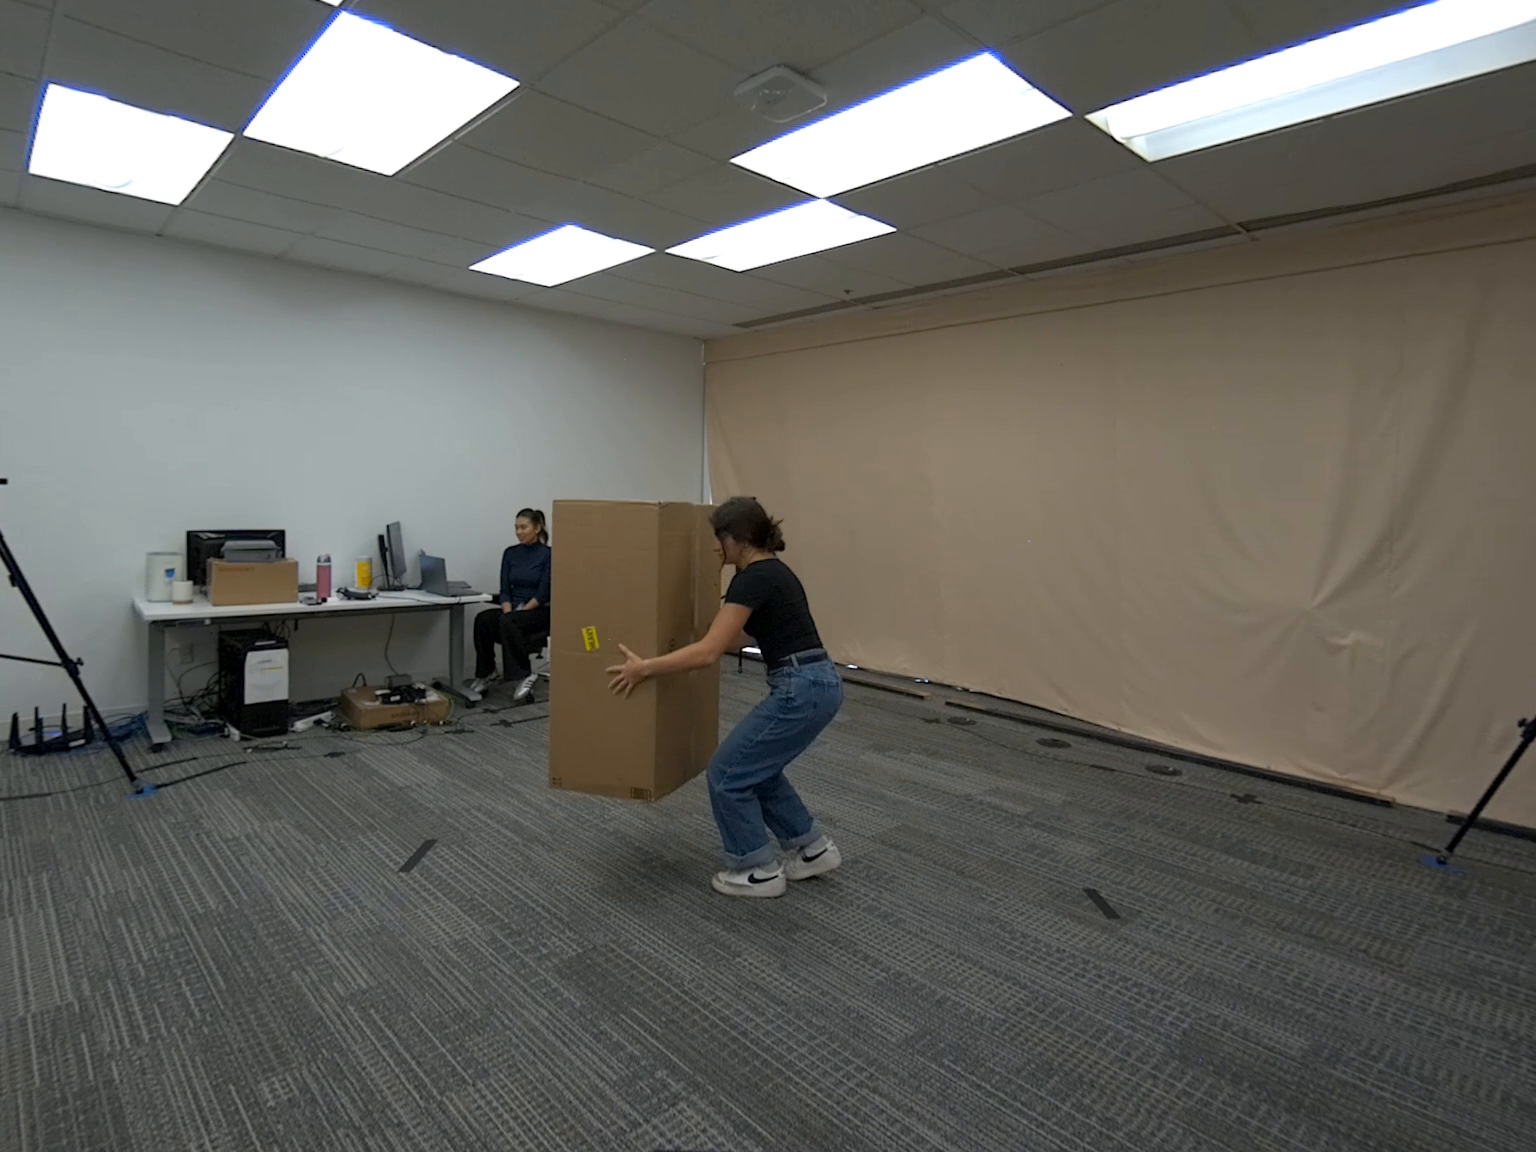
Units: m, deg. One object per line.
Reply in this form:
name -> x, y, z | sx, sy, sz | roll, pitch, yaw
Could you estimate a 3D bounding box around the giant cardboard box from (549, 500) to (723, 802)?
giant cardboard box -> -0.486, 0.239, 3.153 | 0.433, 1.024, 0.569 | 2, 3, 20
